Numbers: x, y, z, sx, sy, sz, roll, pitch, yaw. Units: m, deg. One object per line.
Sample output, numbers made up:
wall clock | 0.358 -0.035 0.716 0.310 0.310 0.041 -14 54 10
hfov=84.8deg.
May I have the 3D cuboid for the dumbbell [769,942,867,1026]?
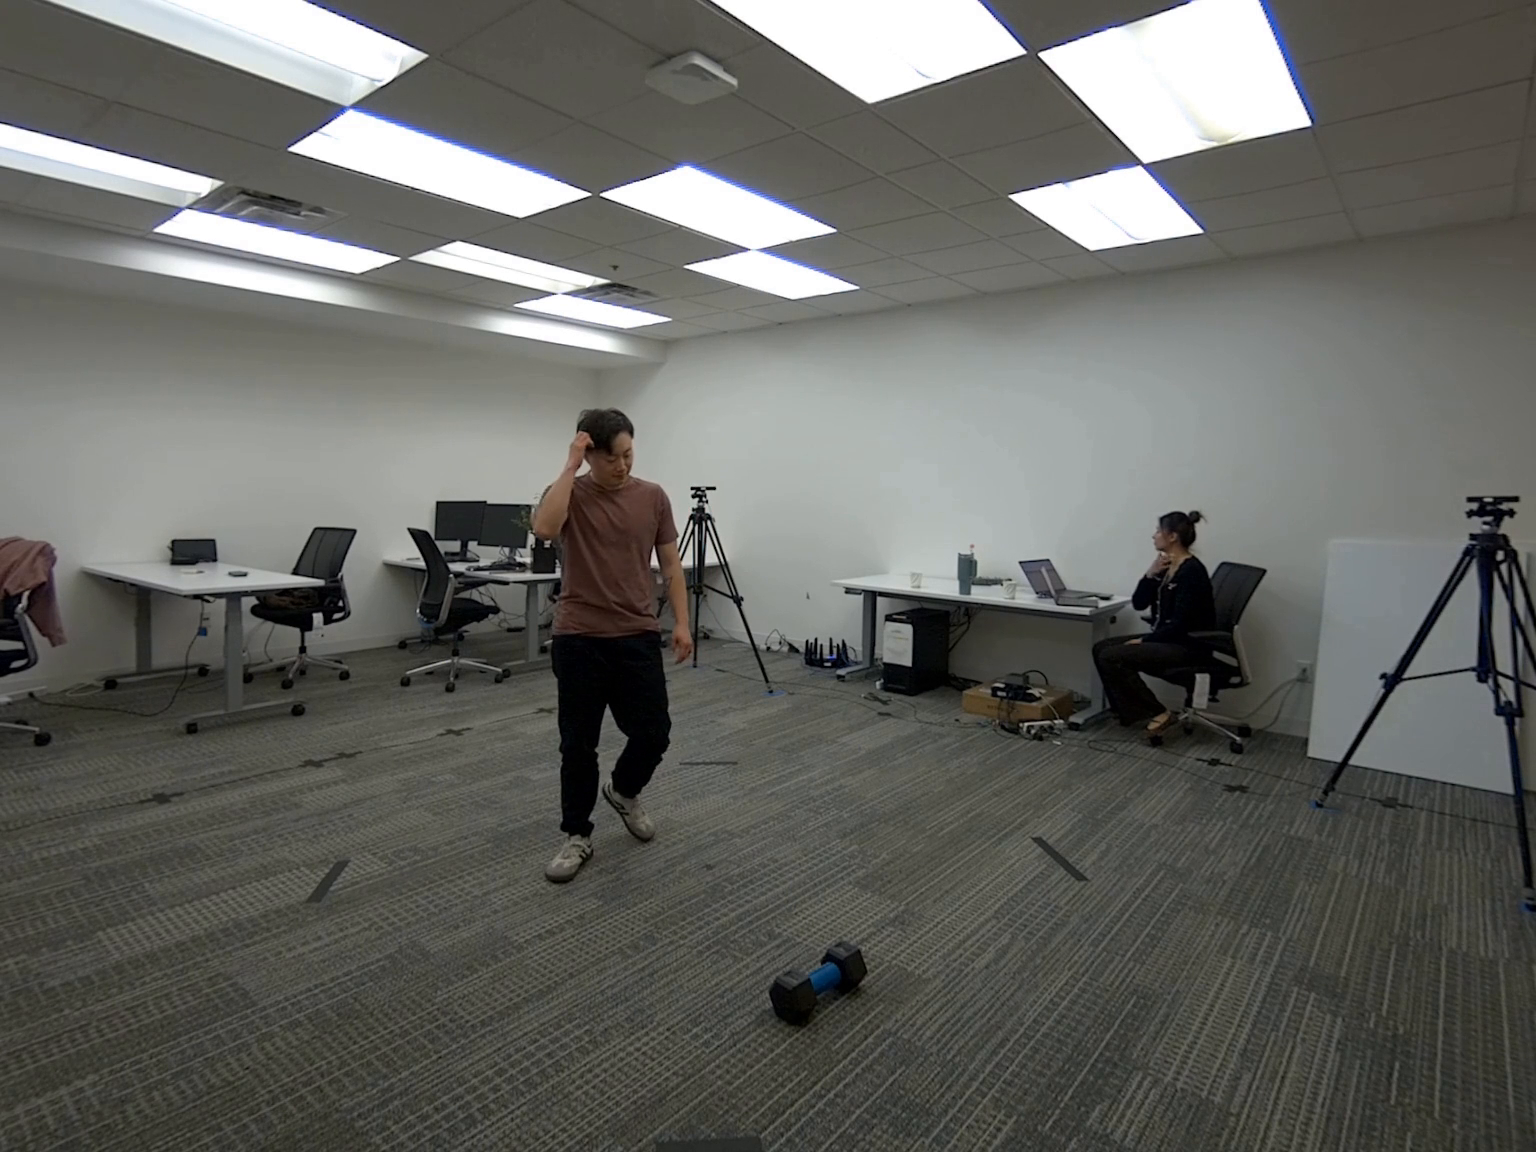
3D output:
dumbbell | 0.135 1.099 2.315 0.285 0.108 0.127 -4 8 -44
